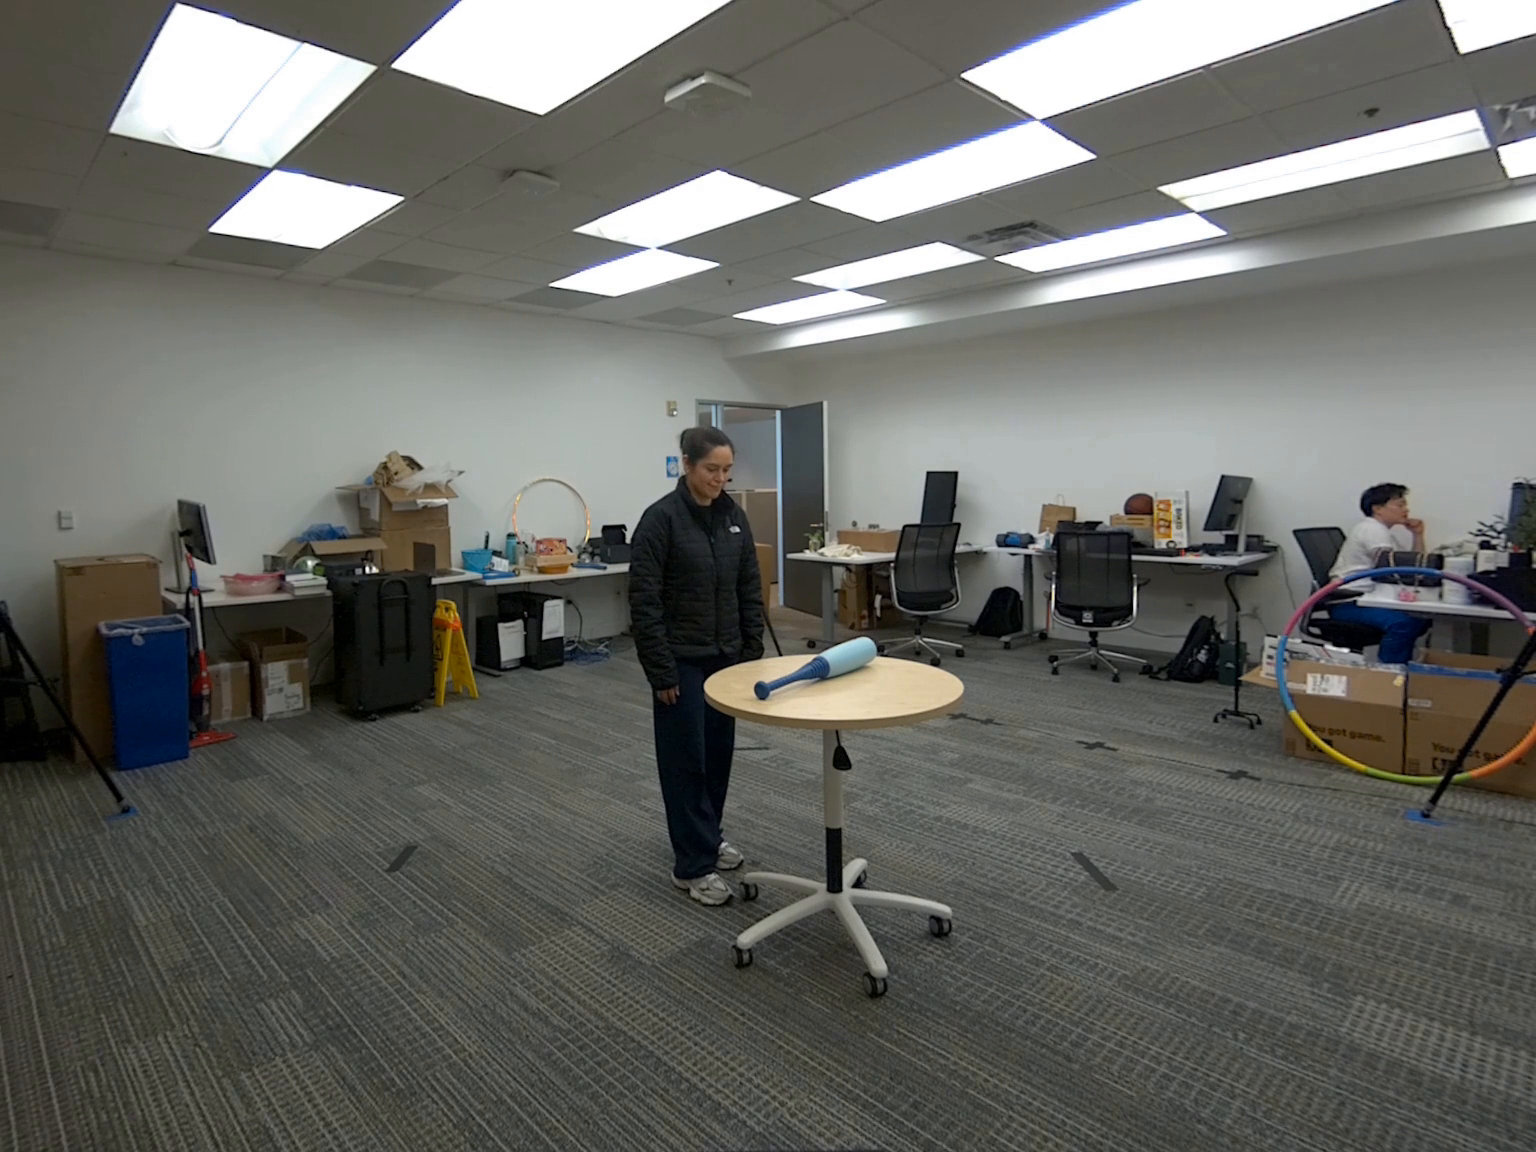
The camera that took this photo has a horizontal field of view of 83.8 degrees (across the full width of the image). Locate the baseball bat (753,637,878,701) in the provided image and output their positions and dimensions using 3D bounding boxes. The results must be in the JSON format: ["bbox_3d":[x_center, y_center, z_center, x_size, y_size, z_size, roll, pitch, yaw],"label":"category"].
[{"bbox_3d":[0.146,0.279,2.595,0.092,0.088,0.531,3,11,40],"label":"baseball bat"}]
